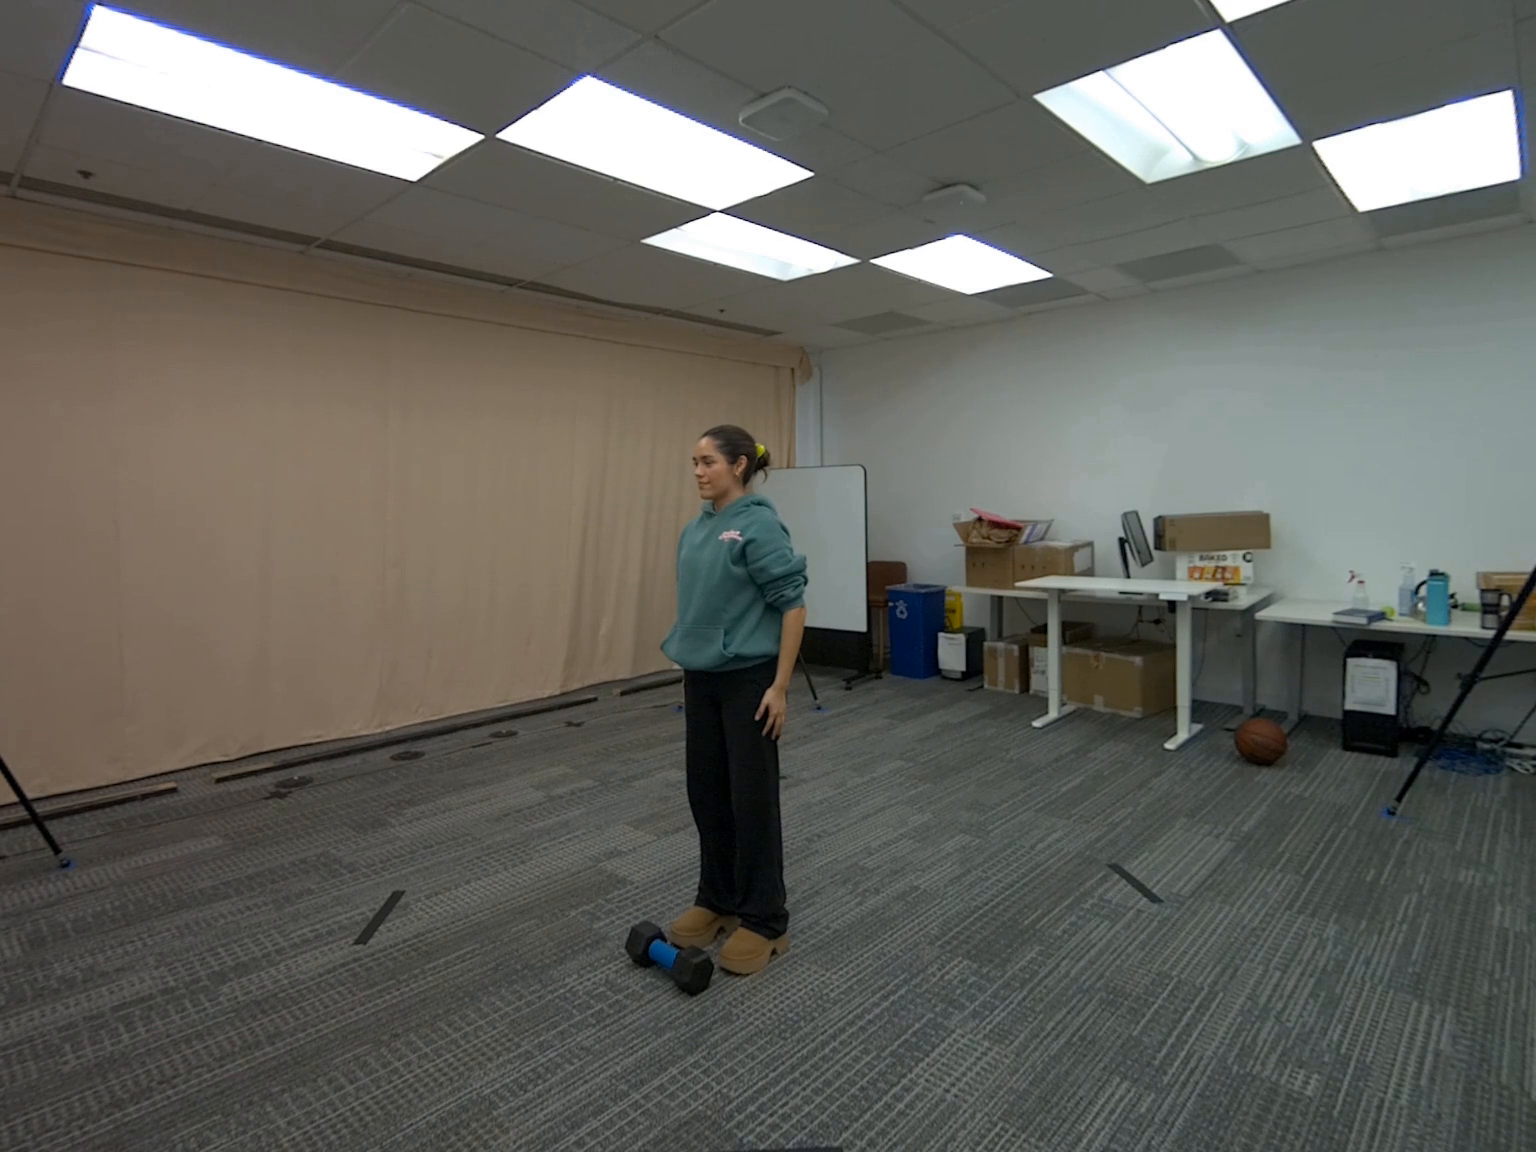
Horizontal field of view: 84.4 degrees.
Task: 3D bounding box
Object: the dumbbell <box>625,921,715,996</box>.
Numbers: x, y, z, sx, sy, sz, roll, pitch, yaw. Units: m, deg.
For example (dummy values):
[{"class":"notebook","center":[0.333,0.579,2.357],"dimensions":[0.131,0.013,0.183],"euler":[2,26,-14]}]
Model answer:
[{"class":"dumbbell","center":[-0.292,1.135,2.499],"dimensions":[0.303,0.120,0.107],"euler":[3,37,45]}]
